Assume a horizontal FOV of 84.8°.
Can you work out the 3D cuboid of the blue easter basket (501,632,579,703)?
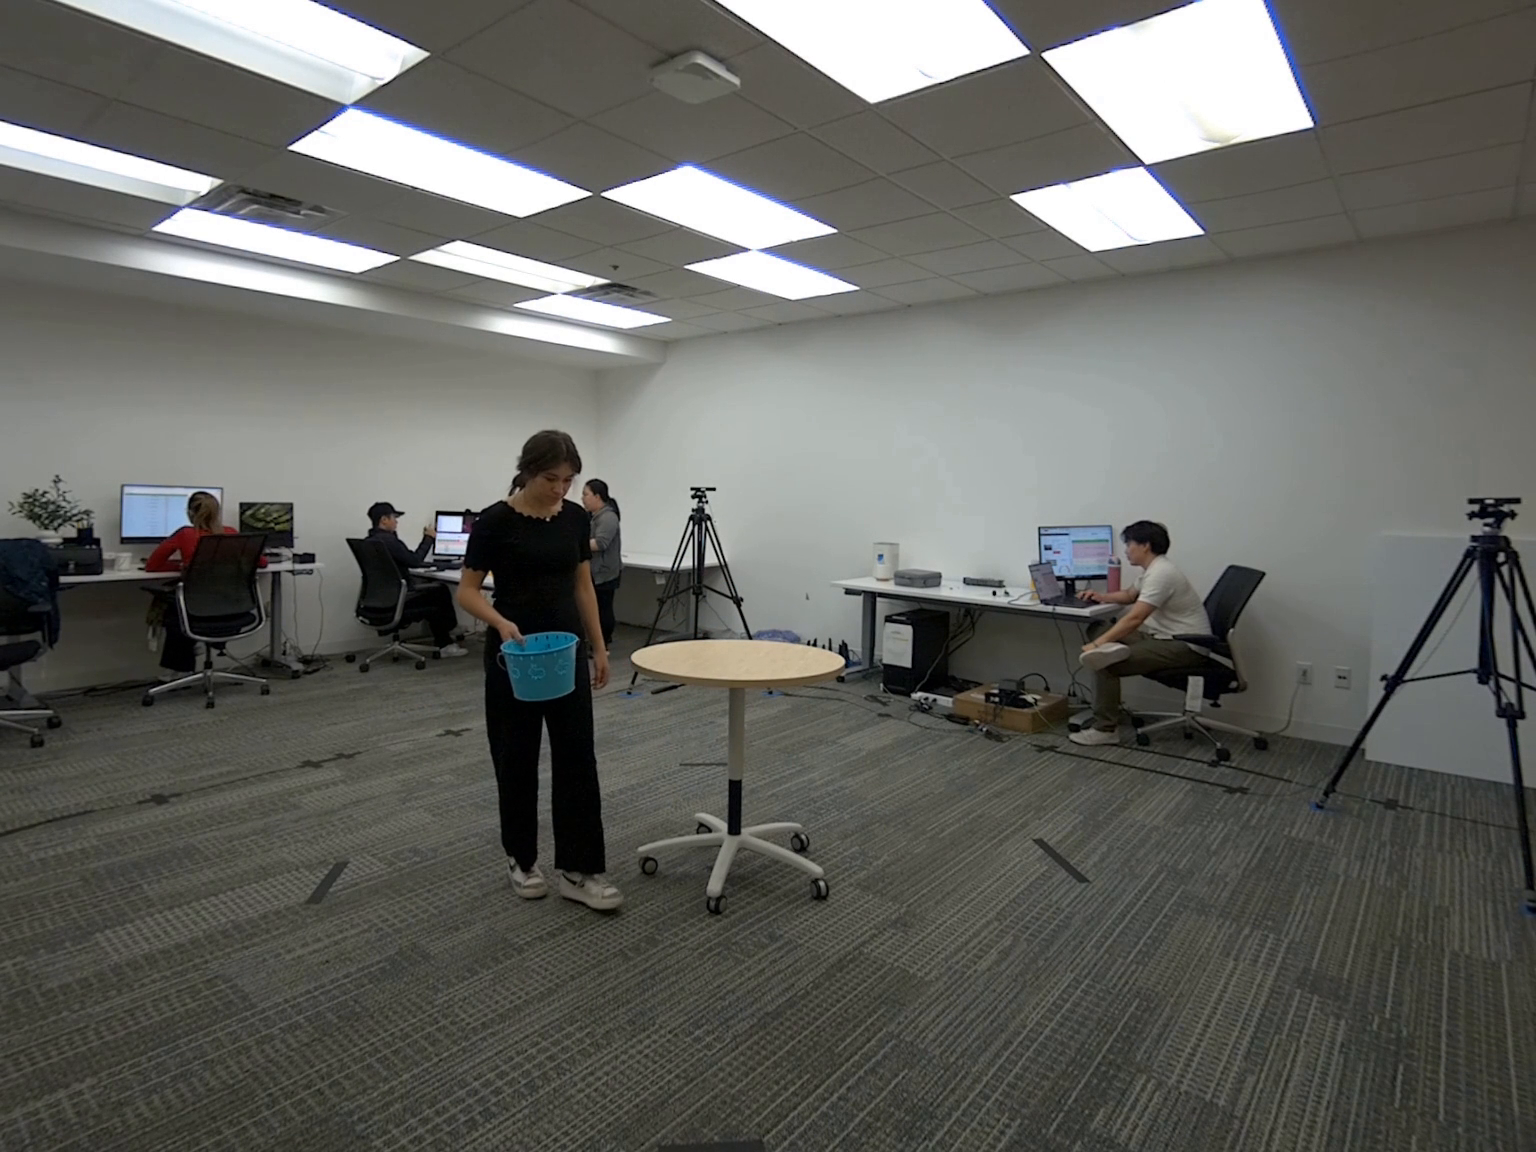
[{"bbox_3d":[-0.688,0.274,2.554,0.243,0.154,0.246,-5,9,-1],"label":"blue easter basket"}]
